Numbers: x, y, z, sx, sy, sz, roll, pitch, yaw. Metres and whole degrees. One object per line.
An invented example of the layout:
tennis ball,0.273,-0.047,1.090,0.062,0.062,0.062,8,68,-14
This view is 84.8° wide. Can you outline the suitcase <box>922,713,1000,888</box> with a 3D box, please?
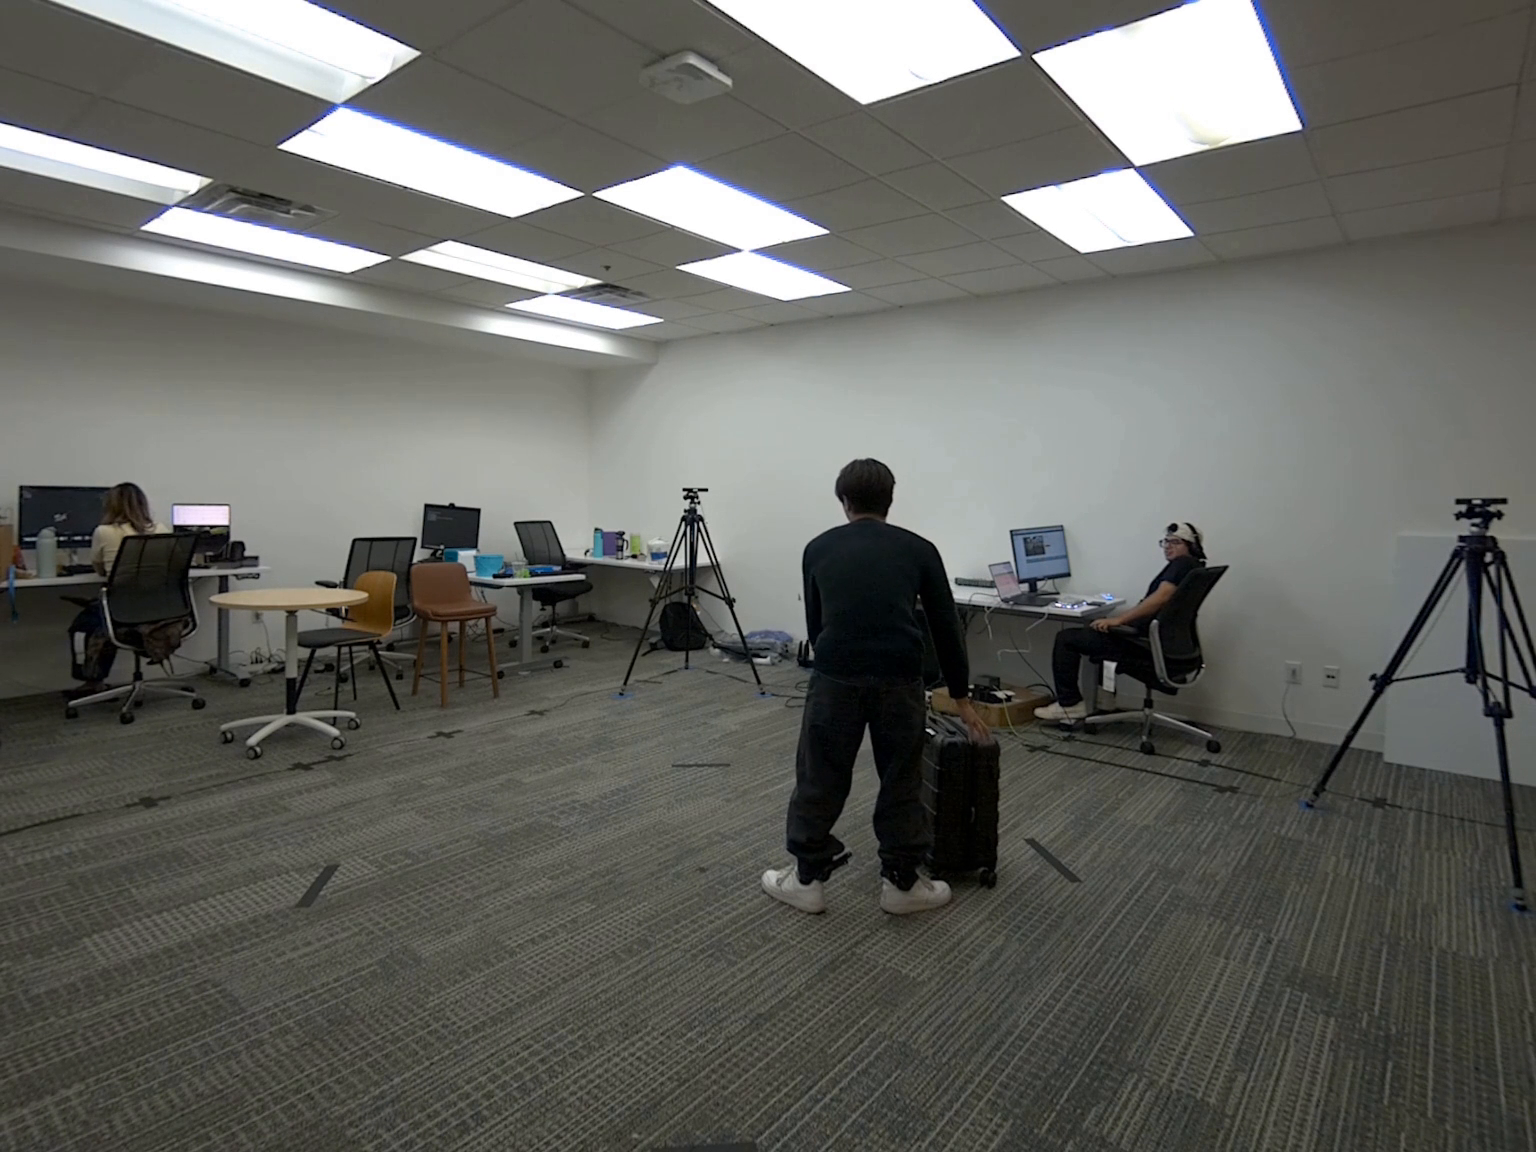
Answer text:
suitcase,0.667,0.805,3.168,0.246,0.548,0.380,2,3,-11
